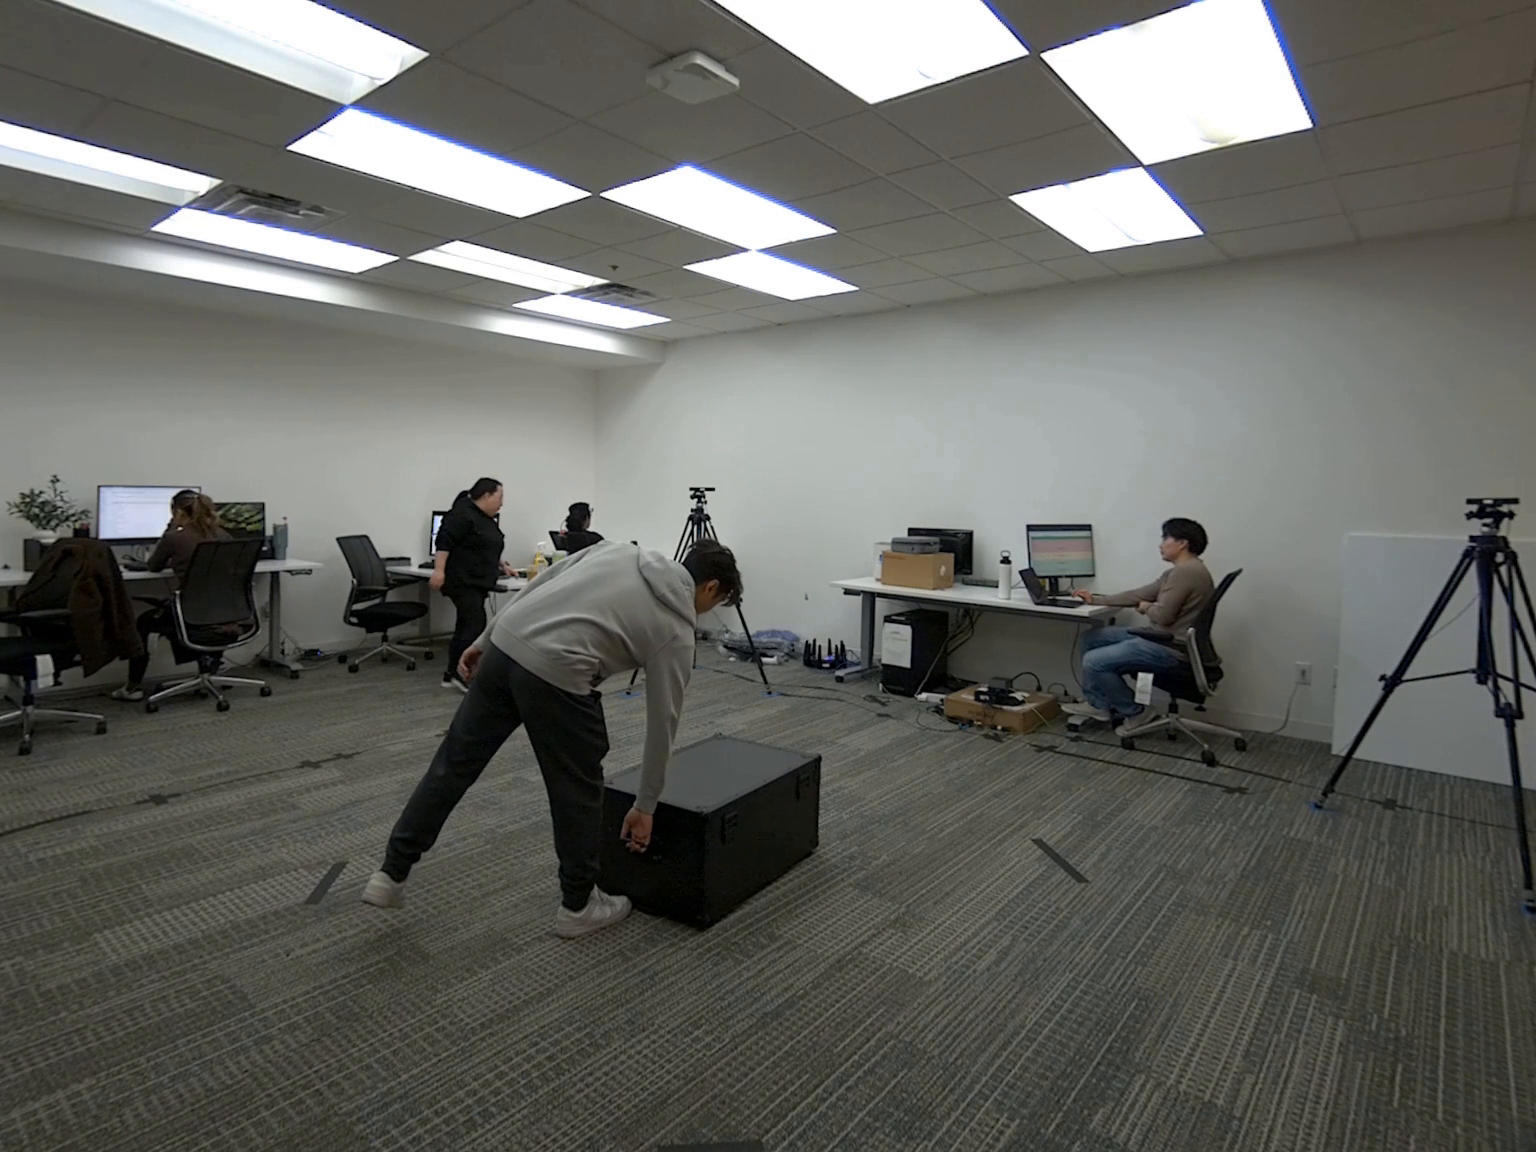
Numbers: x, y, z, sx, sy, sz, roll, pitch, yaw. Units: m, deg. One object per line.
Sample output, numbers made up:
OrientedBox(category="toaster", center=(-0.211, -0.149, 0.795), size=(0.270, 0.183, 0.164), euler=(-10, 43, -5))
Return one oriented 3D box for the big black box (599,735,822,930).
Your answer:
OrientedBox(category="big black box", center=(-0.229, 0.881, 3.061), size=(0.537, 0.395, 0.838), euler=(4, 5, 32))
